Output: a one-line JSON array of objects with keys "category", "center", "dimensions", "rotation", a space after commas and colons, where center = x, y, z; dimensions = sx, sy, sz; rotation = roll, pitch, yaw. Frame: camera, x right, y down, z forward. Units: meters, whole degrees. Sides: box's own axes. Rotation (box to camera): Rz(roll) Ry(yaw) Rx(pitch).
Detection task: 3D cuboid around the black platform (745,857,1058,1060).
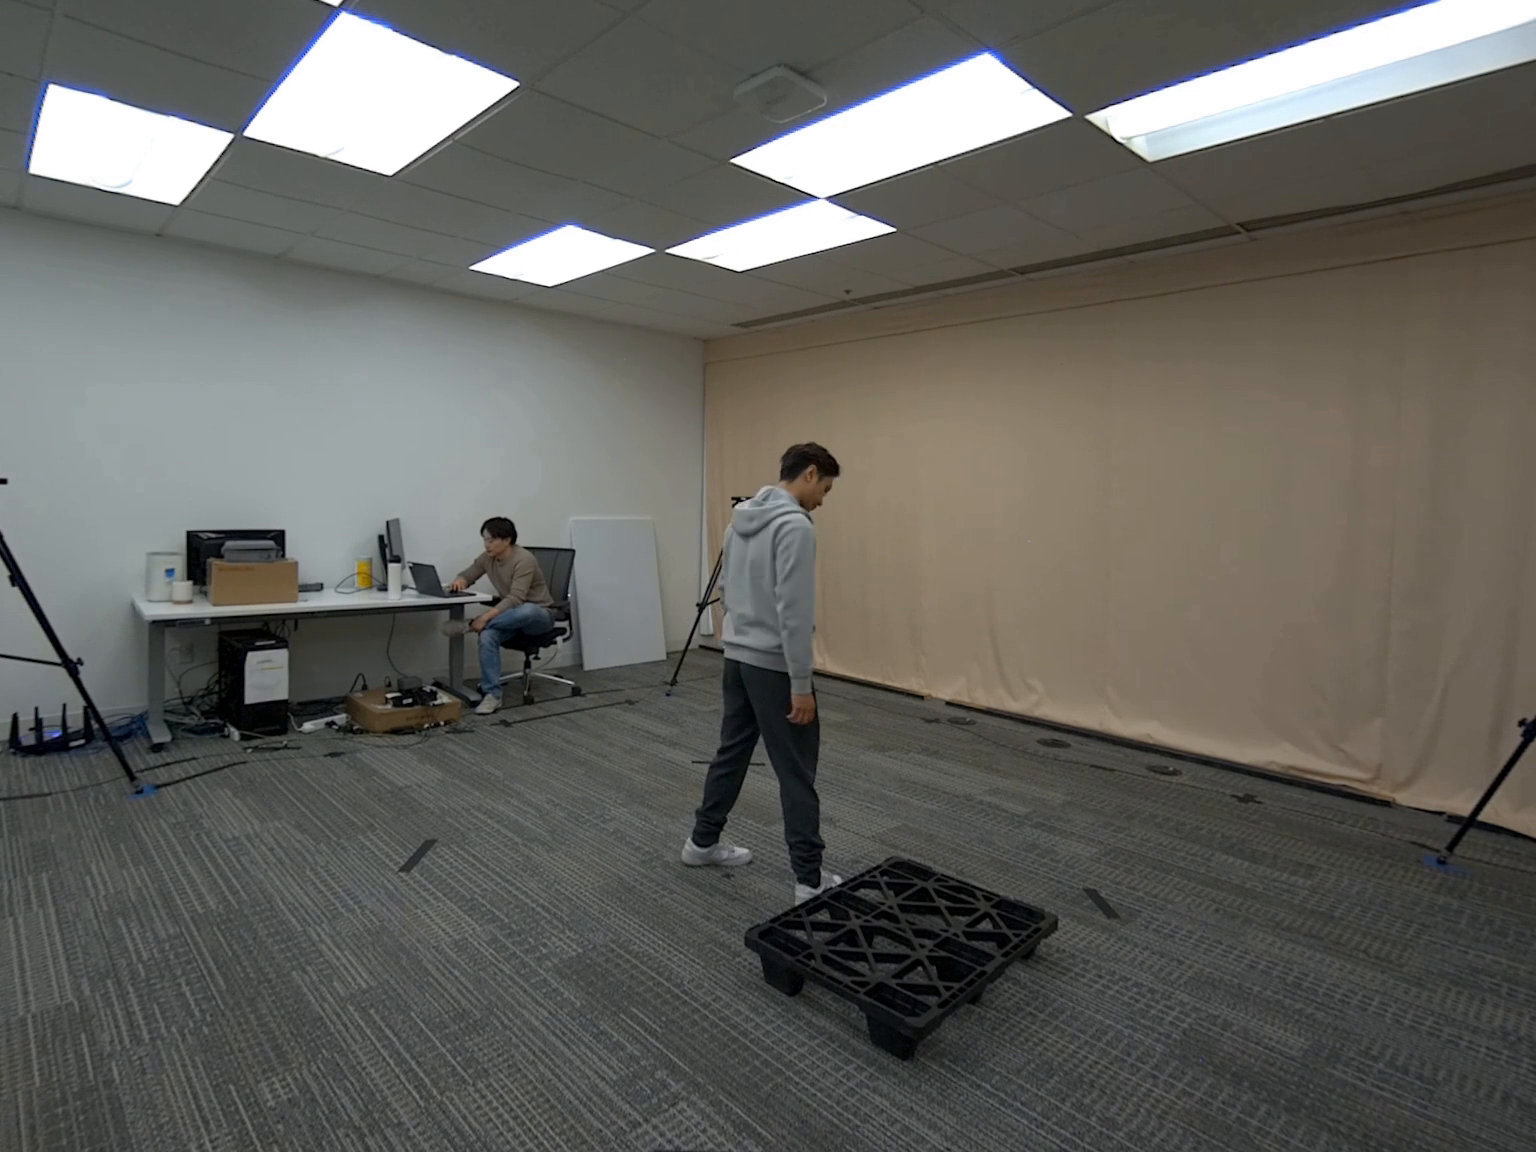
[{"category": "black platform", "center": [0.398, 1.106, 2.520], "dimensions": [0.621, 0.143, 0.787], "rotation": [6, 7, 43]}]
